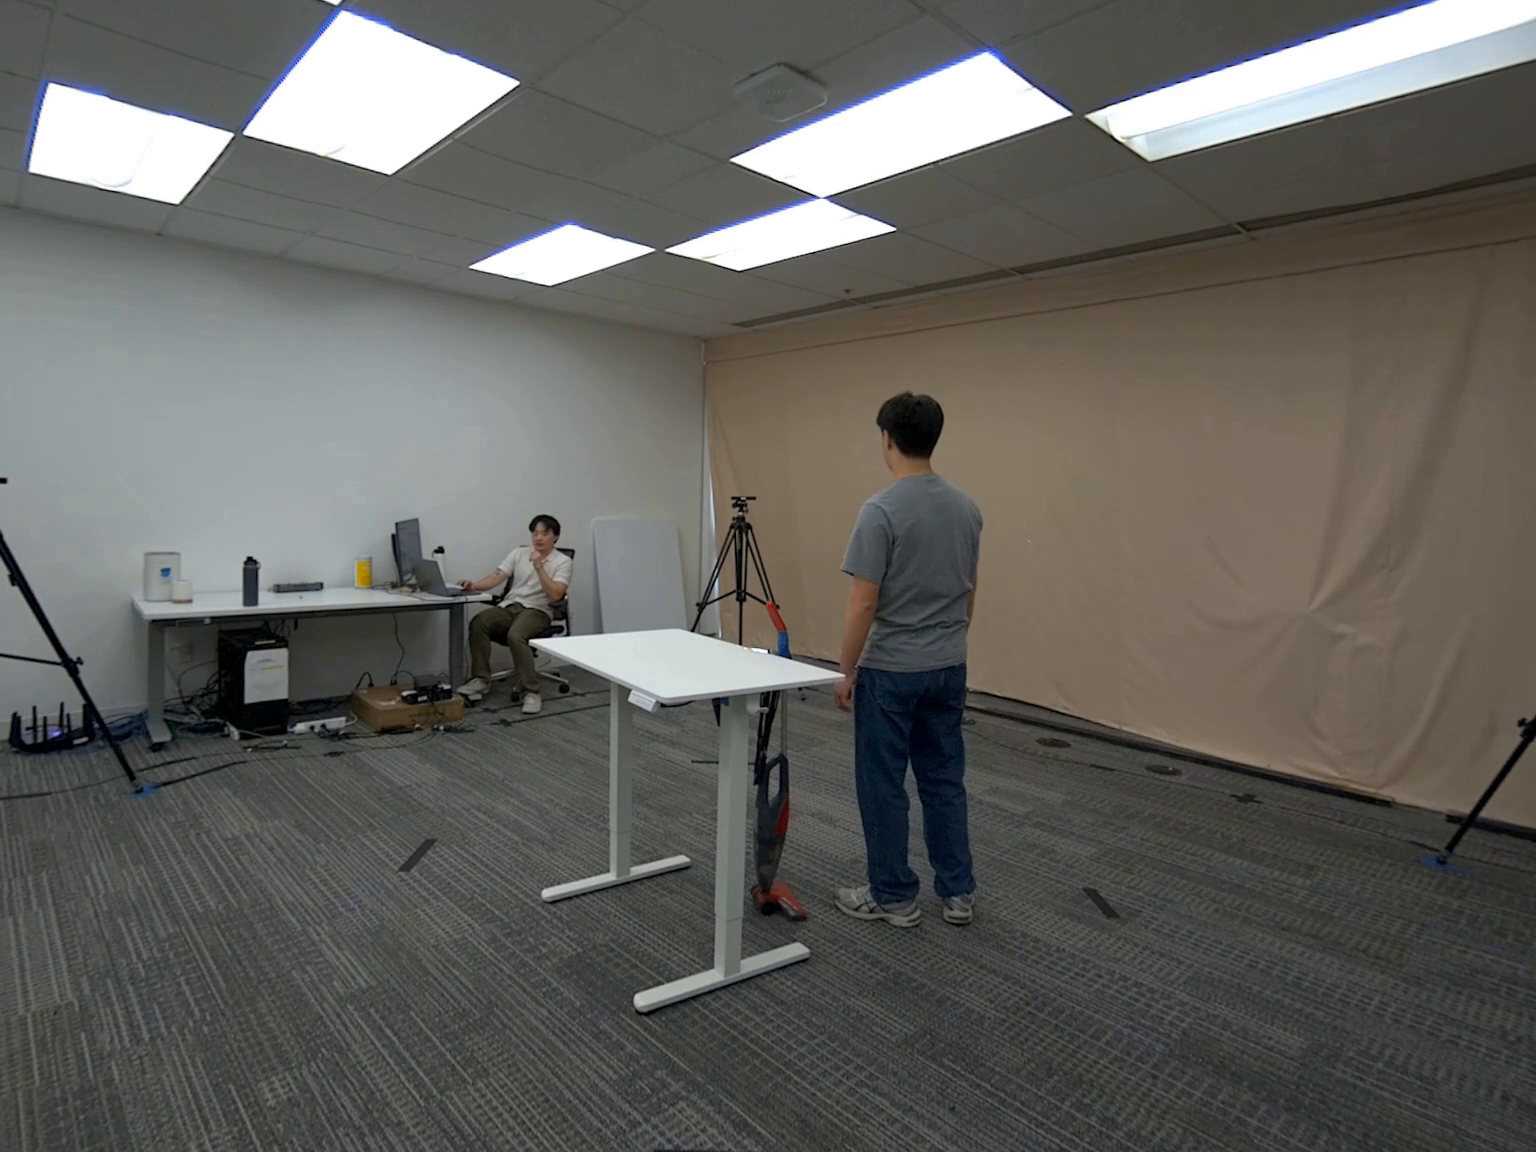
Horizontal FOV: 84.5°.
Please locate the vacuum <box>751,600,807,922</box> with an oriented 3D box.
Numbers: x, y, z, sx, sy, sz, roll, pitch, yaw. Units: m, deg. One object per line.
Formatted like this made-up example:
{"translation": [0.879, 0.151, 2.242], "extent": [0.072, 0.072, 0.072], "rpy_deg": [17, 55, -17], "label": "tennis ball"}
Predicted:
{"translation": [0.010, 0.609, 2.851], "extent": [0.143, 1.048, 0.254], "rpy_deg": [-2, 1, -10], "label": "vacuum"}
